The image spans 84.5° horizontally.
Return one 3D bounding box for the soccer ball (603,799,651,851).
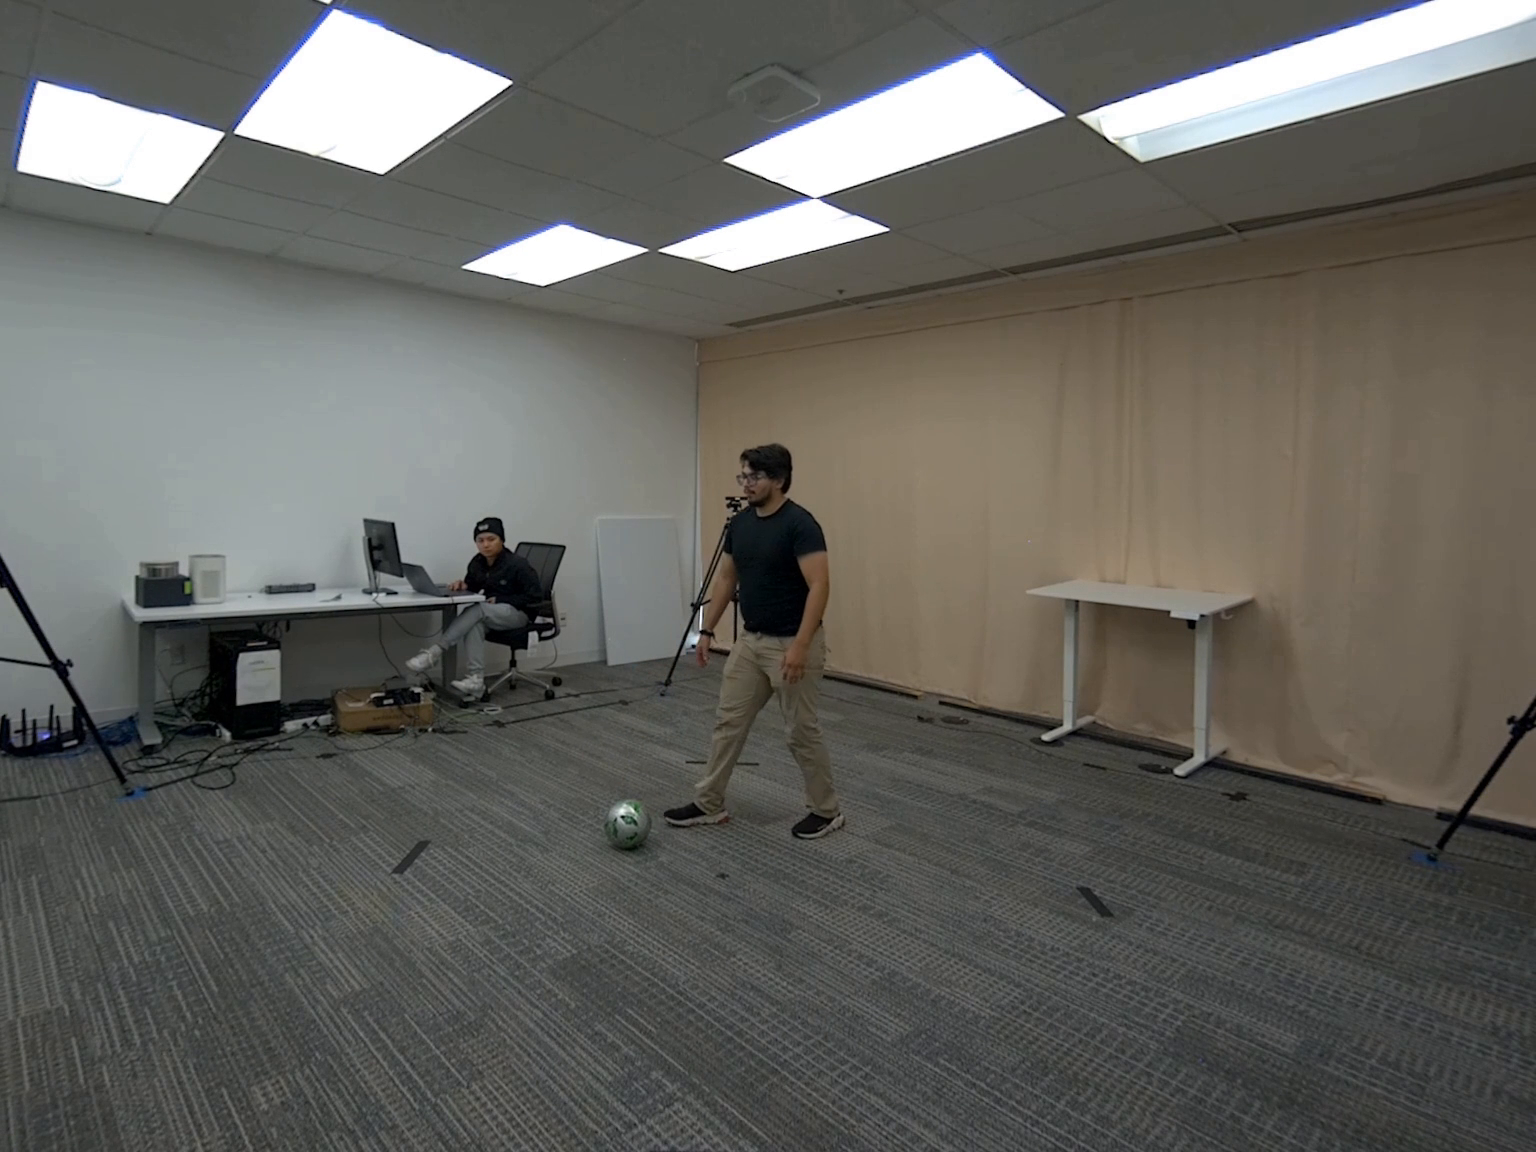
[{"bbox_3d":[-0.566,0.984,3.338,0.187,0.187,0.188,1,4,-1],"label":"soccer ball"}]
